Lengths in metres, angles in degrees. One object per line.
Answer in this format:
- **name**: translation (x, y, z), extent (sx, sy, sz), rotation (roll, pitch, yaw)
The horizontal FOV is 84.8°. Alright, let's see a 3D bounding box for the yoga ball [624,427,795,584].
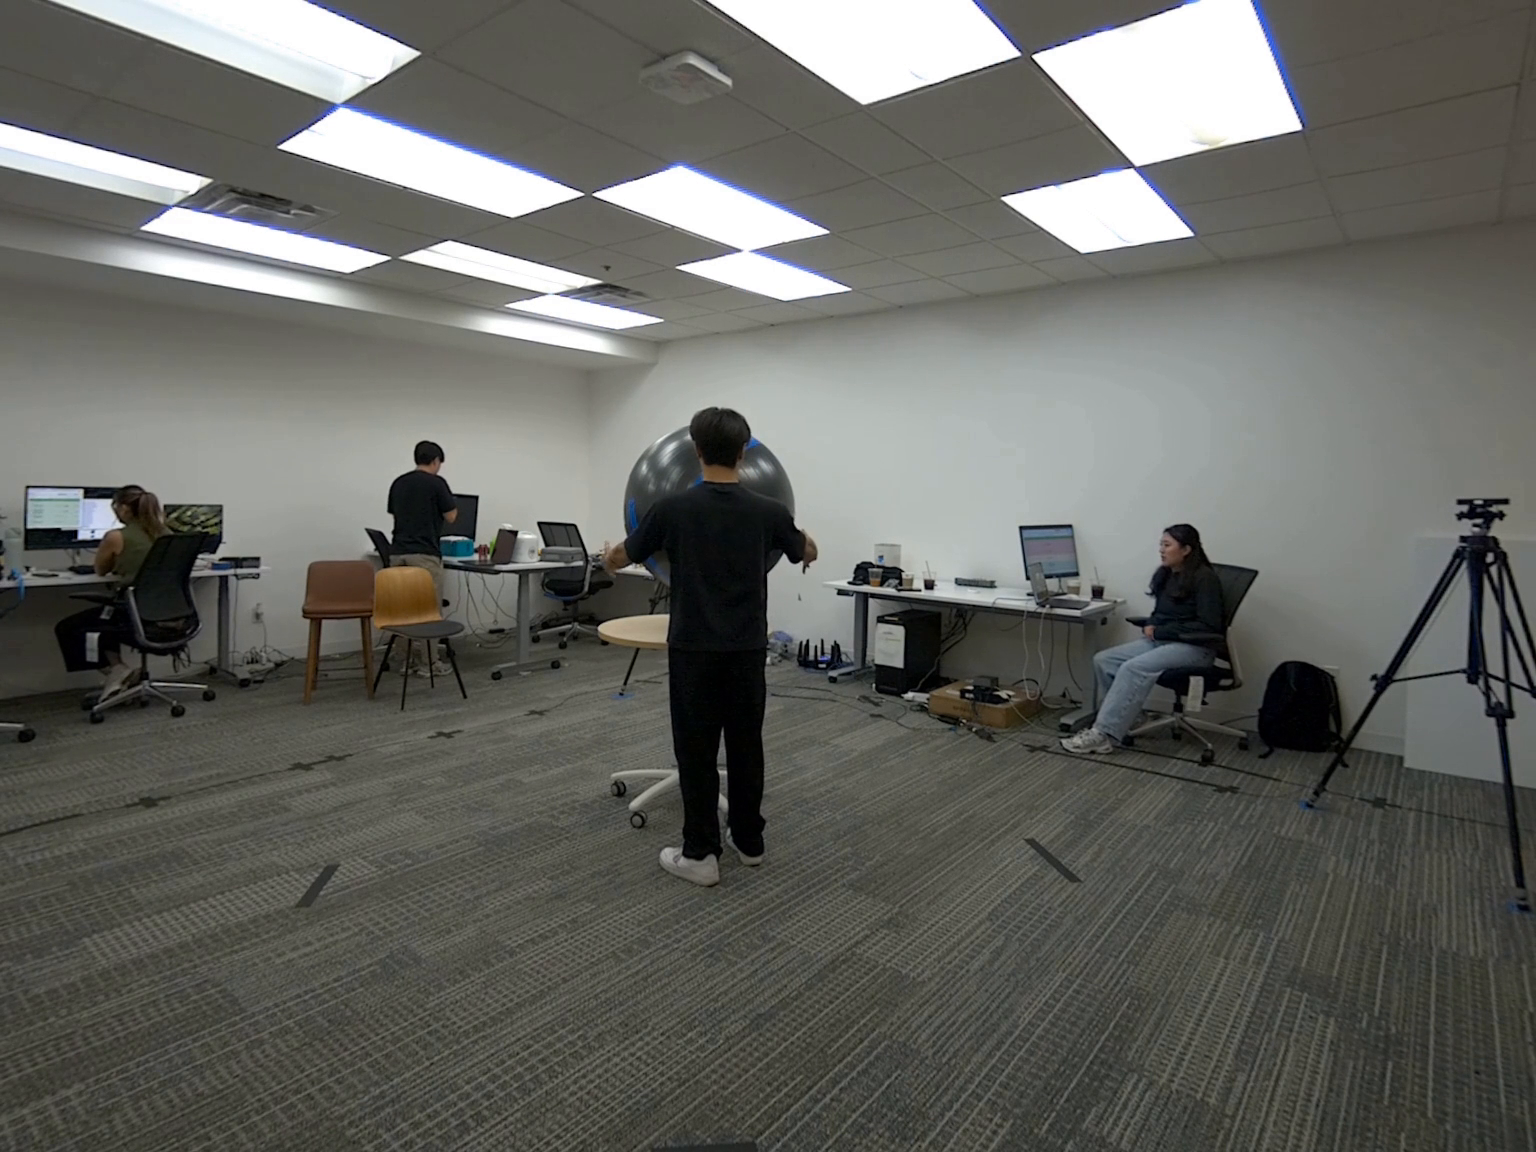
- **yoga ball**: translation (-0.270, -0.290, 3.764), extent (0.757, 0.755, 0.762), rotation (1, 4, -2)
